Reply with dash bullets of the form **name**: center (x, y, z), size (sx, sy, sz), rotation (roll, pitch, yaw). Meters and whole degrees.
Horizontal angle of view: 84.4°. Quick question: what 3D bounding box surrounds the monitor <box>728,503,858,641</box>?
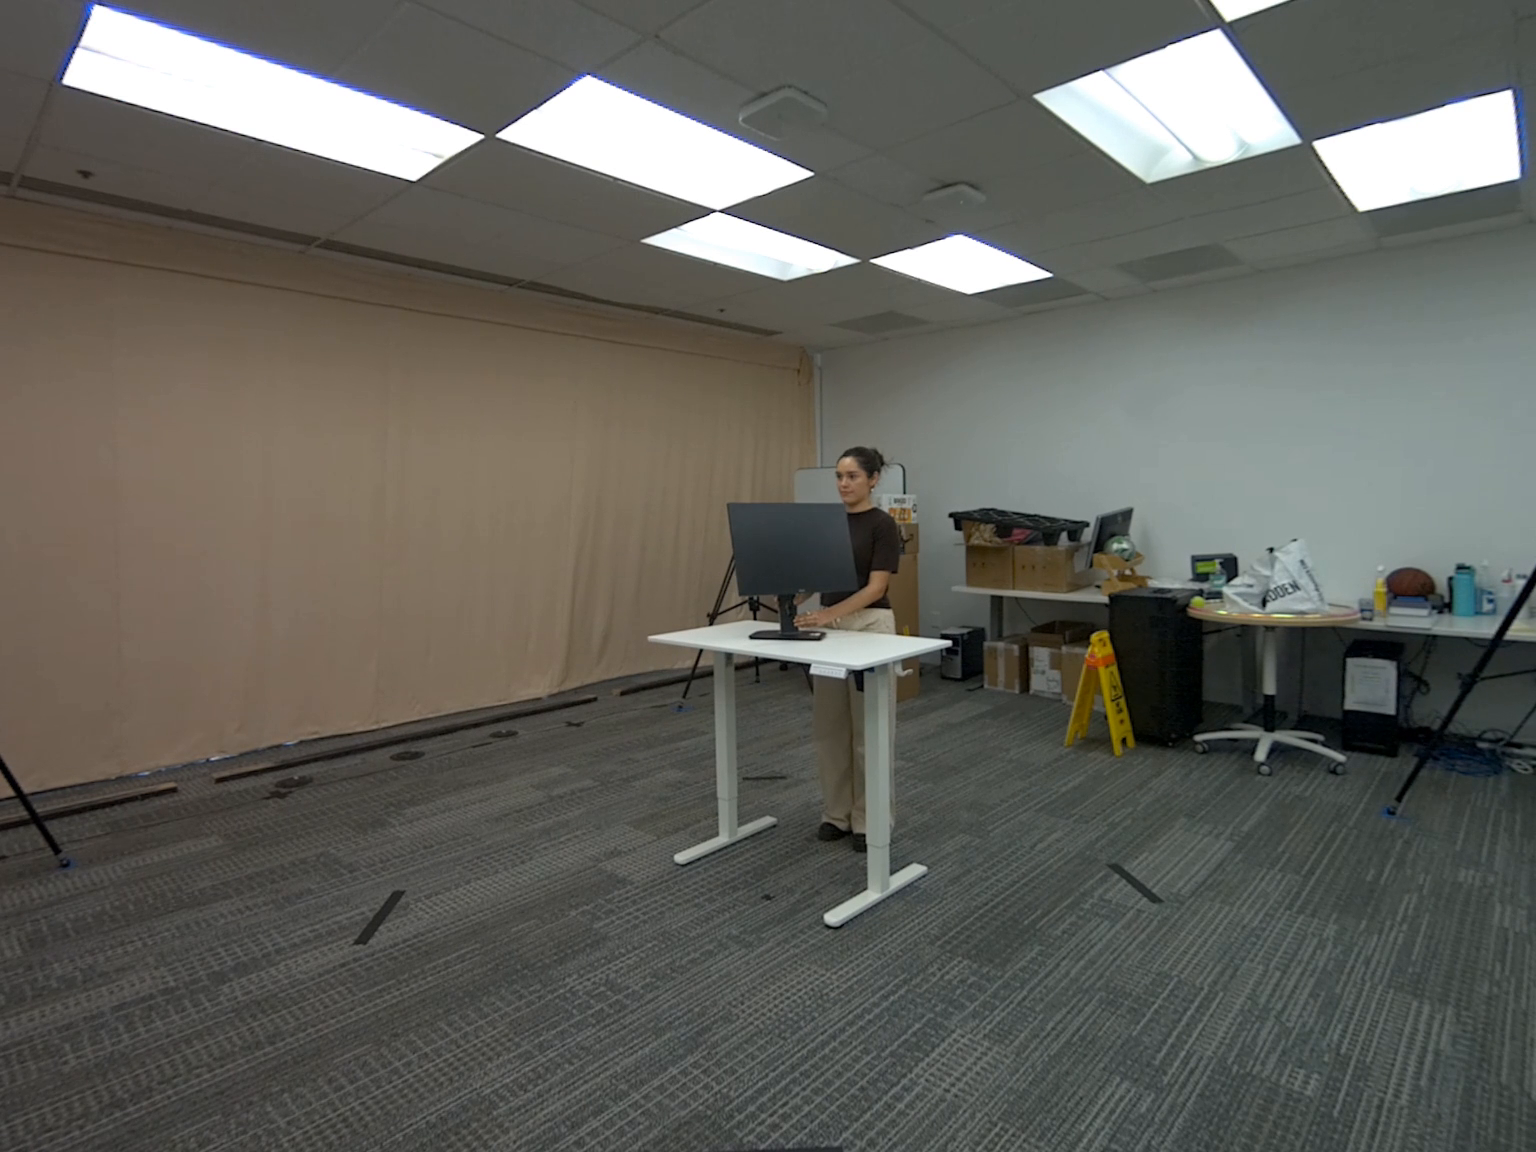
- **monitor**: center (0.093, -0.017, 3.230), size (0.524, 0.522, 0.192), rotation (-2, 0, -31)
